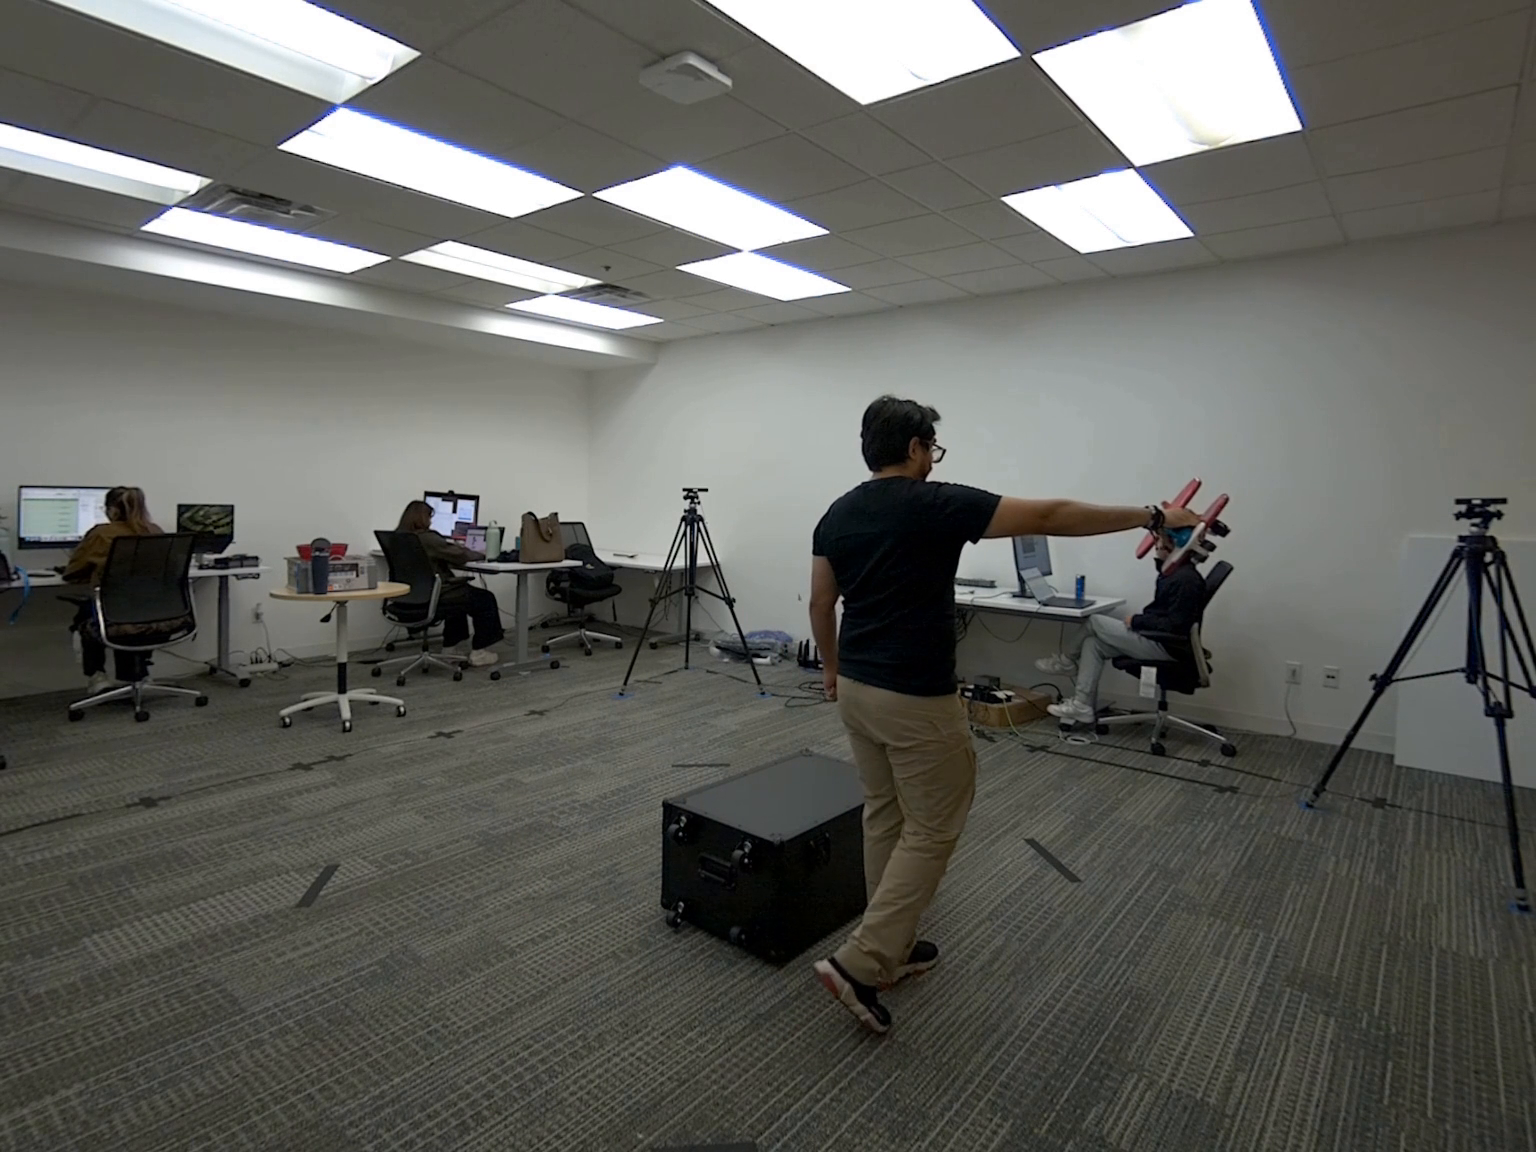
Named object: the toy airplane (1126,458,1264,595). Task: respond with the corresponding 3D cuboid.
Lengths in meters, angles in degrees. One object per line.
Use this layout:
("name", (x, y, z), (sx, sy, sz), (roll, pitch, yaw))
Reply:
("toy airplane", (1.099, -0.123, 2.189), (0.161, 0.251, 0.251), (39, -1, 21))
